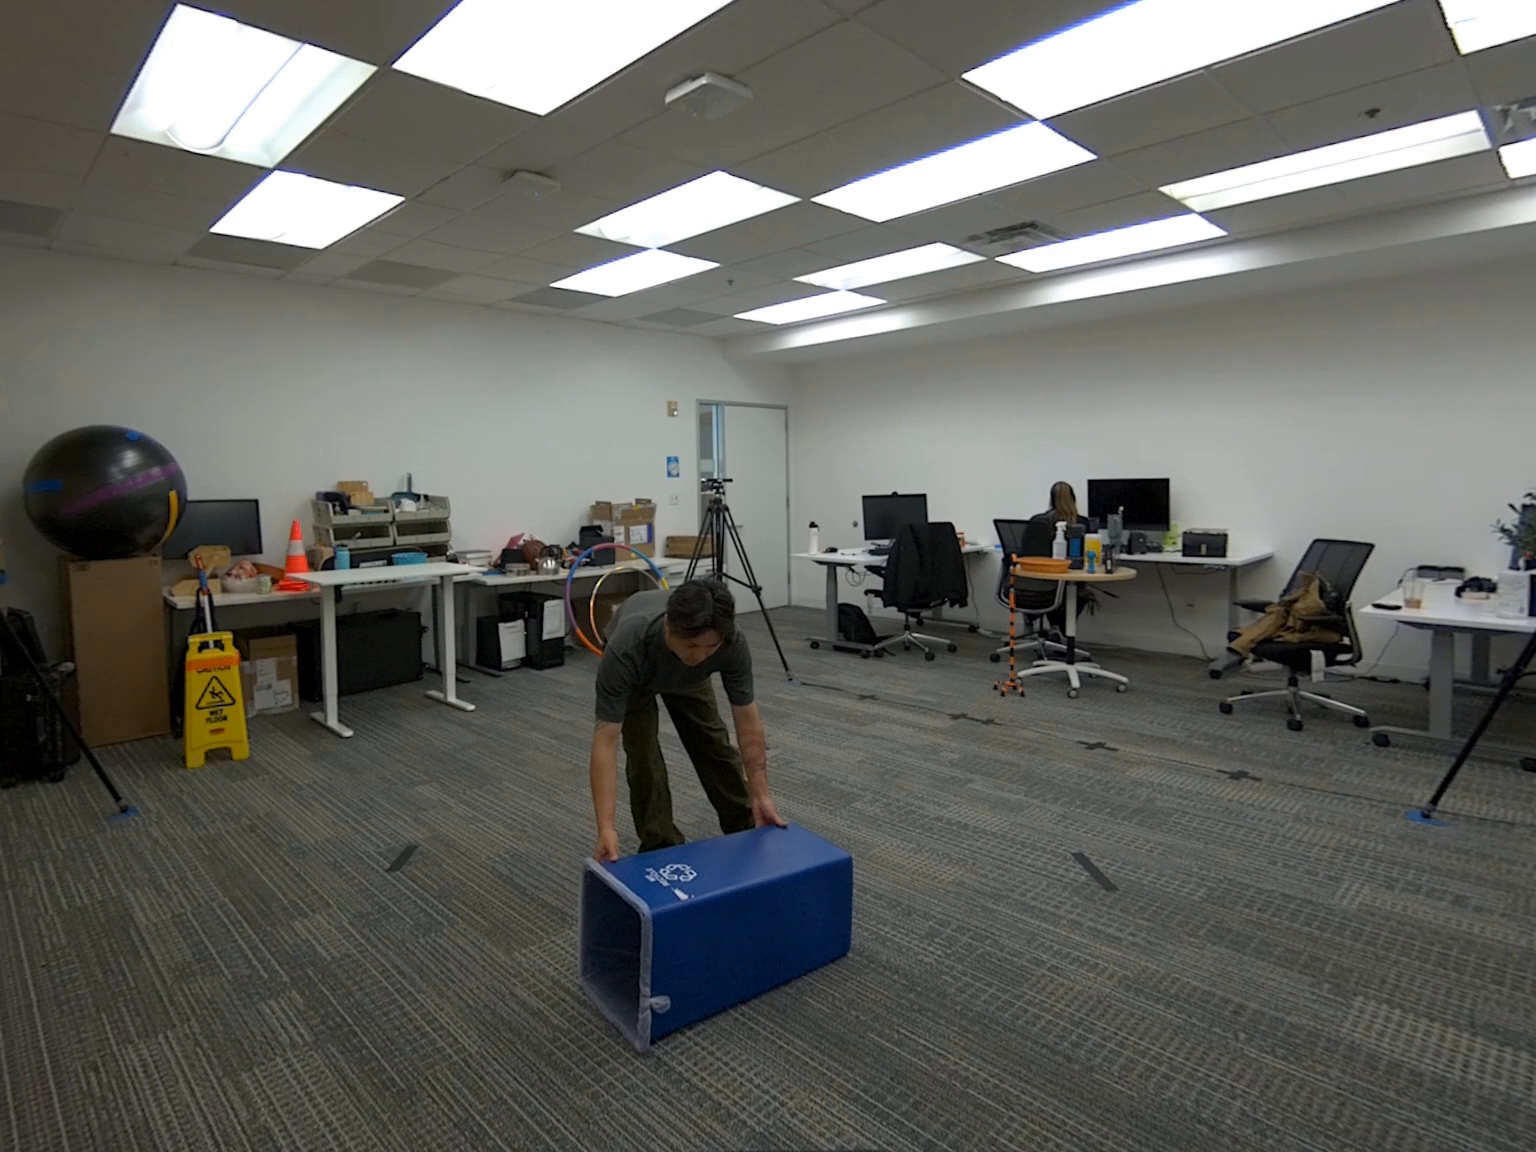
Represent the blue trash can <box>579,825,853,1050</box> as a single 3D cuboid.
[{"bbox_3d":[-0.126,0.957,2.412,0.695,0.373,0.389,-4,6,-35],"label":"blue trash can"}]
